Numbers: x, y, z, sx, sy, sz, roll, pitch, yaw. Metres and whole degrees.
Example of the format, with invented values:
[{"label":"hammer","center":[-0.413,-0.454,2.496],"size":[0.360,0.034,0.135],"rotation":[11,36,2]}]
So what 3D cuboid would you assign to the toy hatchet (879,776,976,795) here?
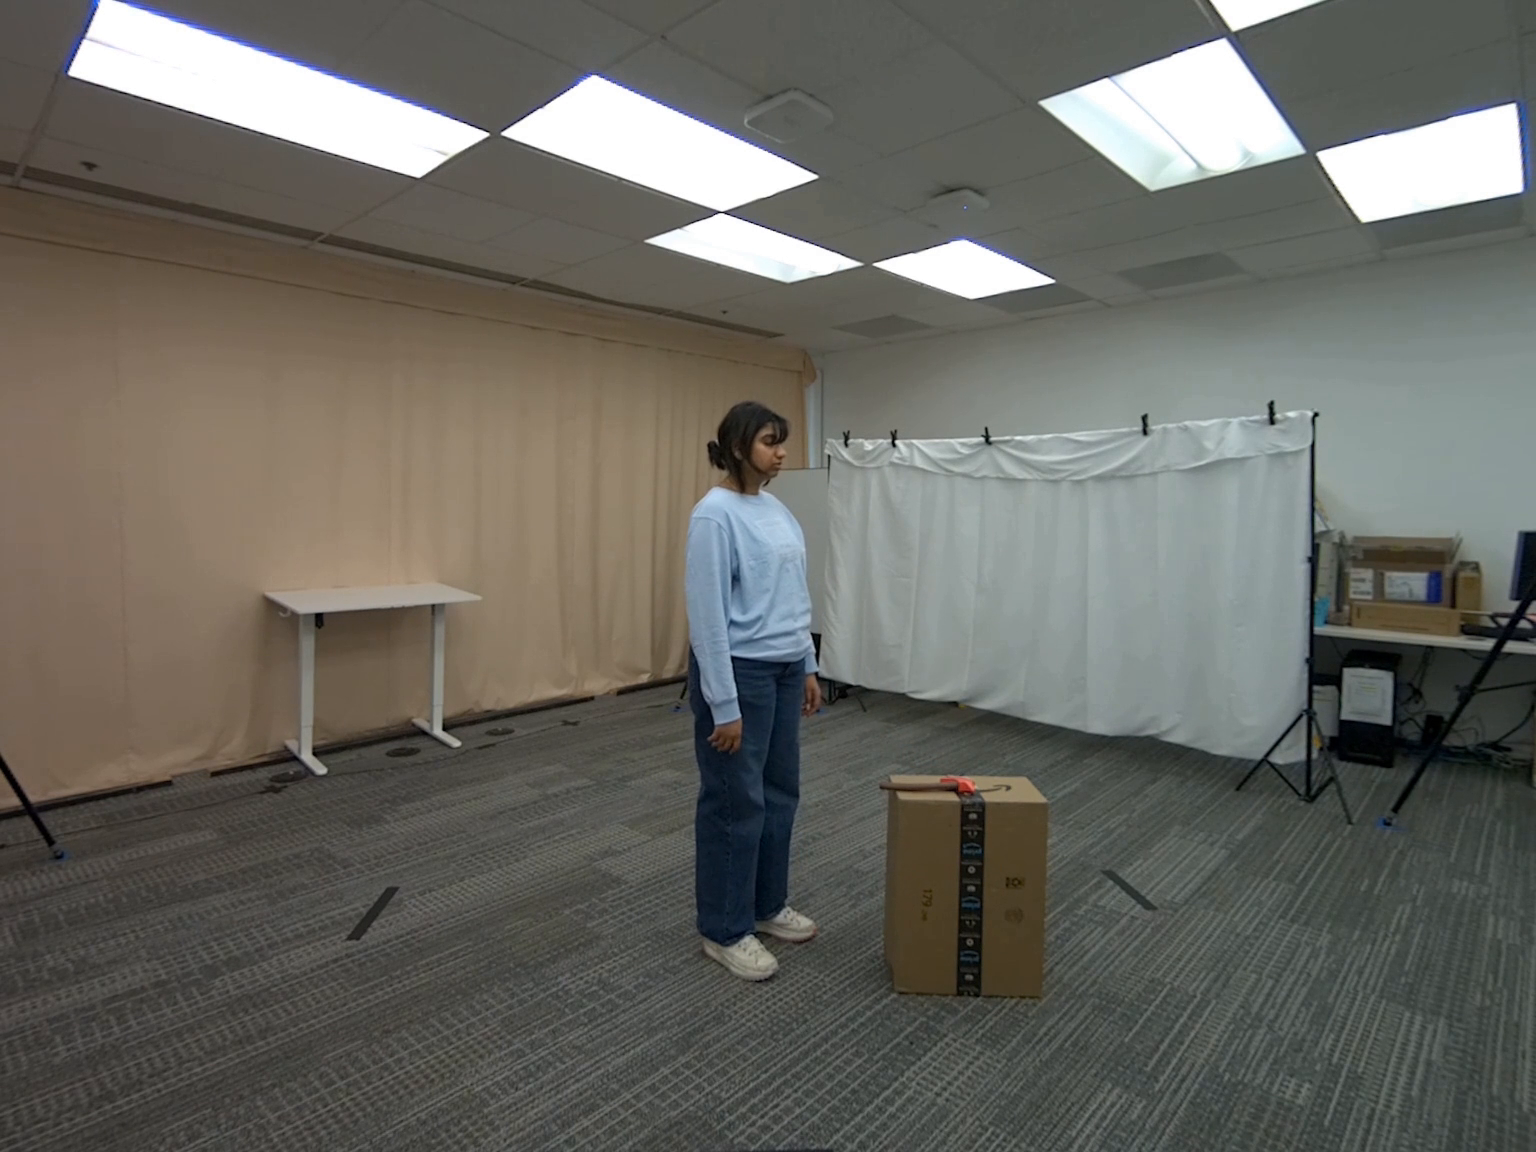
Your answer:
[{"label":"toy hatchet","center":[0.474,0.610,2.471],"size":[0.274,0.029,0.129],"rotation":[0,5,12]}]
